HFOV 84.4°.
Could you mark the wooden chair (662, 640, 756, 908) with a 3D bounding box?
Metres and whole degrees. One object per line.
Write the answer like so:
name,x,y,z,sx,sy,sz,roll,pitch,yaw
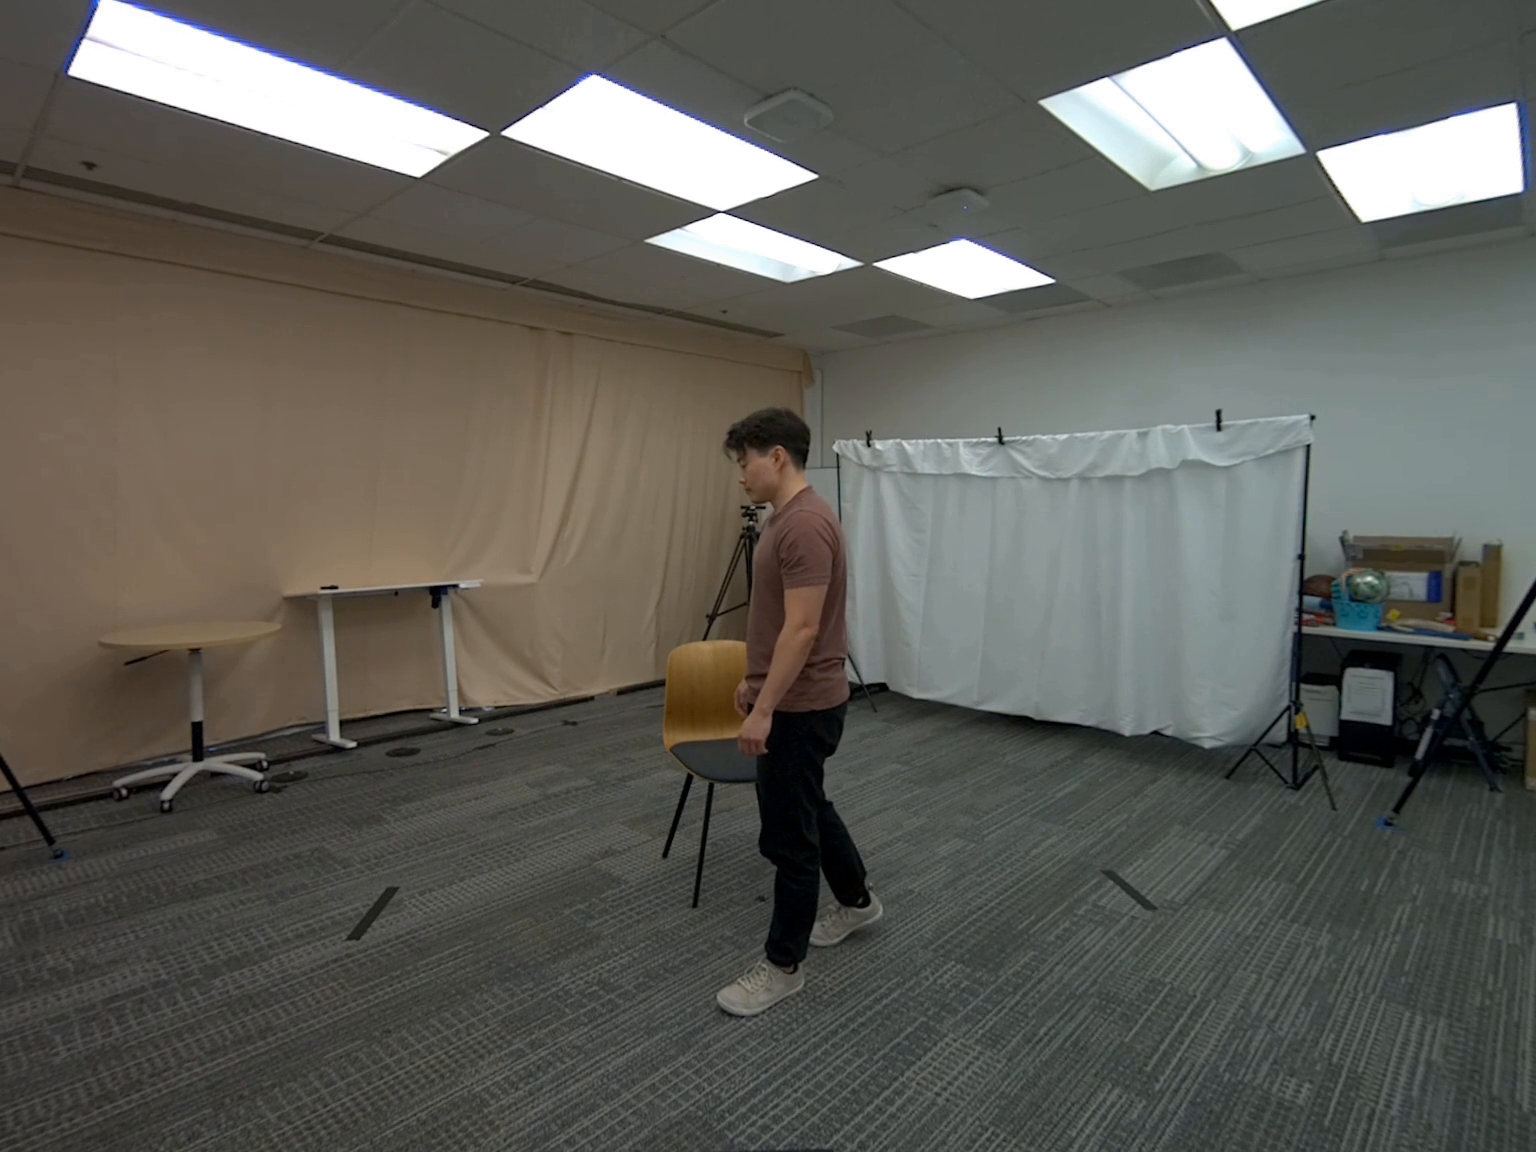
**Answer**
wooden chair,-0.128,0.705,3.163,0.469,0.878,0.533,-1,0,-20
